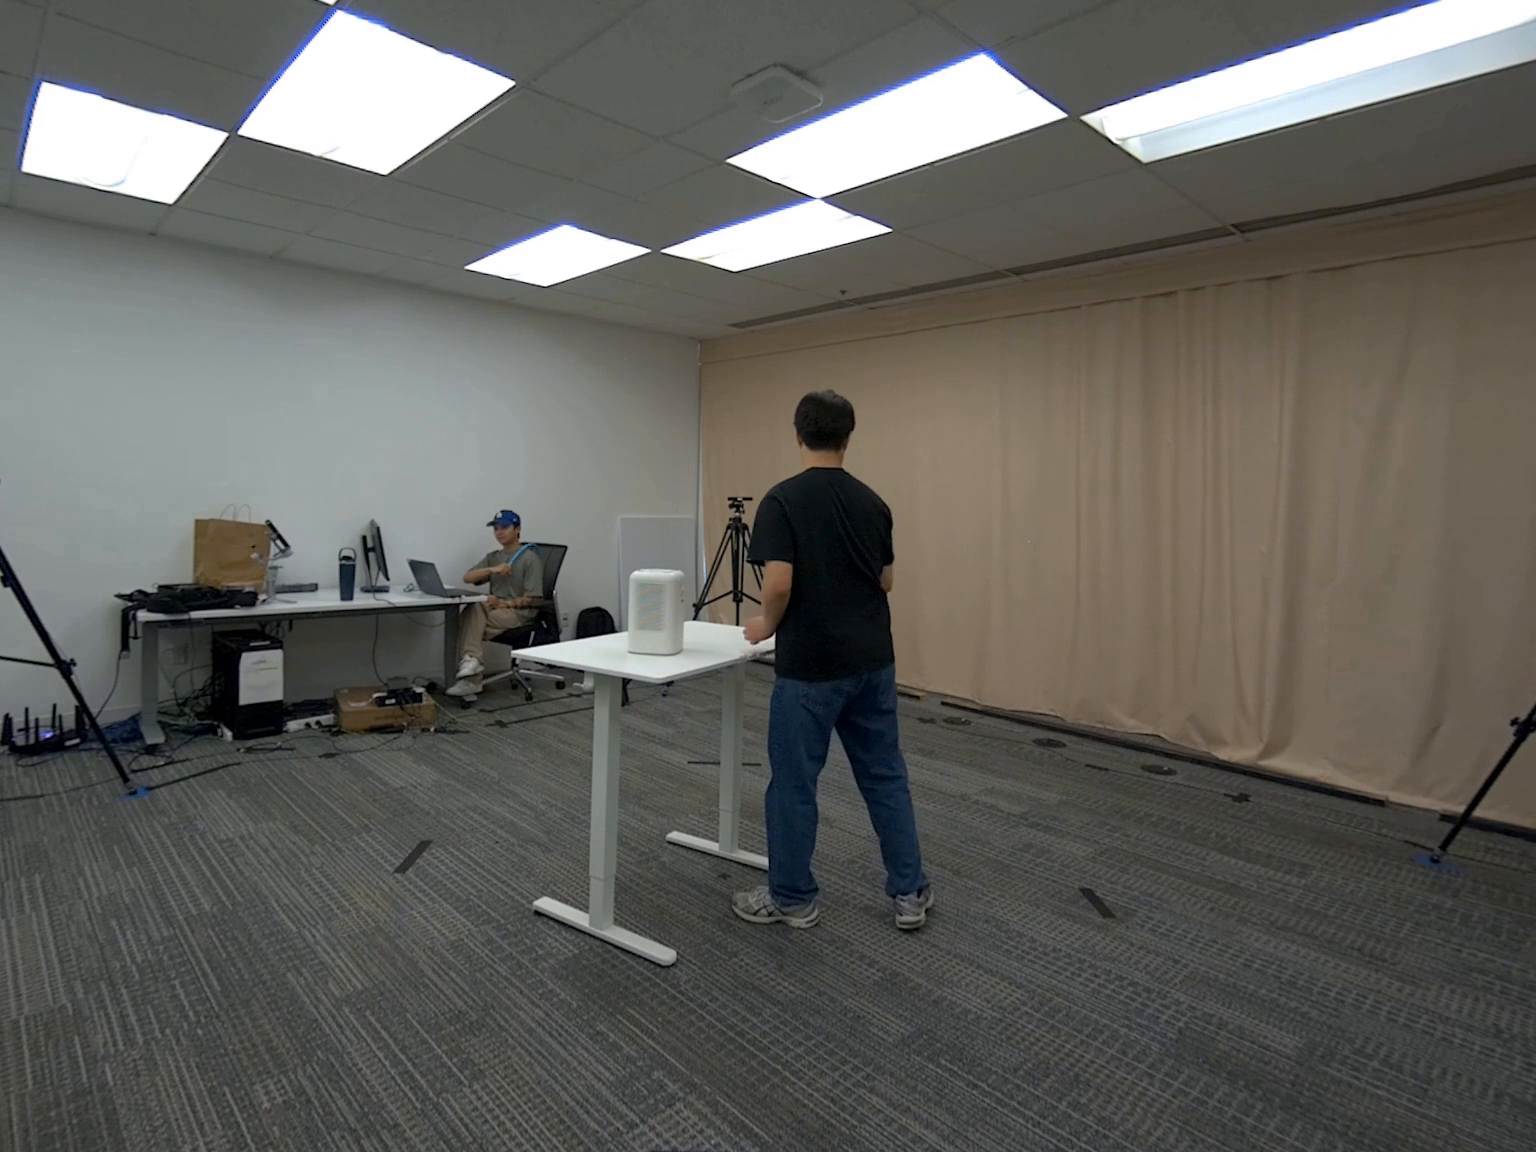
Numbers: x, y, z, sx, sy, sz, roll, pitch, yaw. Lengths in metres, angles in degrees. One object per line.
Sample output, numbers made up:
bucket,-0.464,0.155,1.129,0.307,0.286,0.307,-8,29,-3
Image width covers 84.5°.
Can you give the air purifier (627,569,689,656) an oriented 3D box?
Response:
air purifier,-0.362,0.117,2.767,0.173,0.265,0.170,3,3,9
